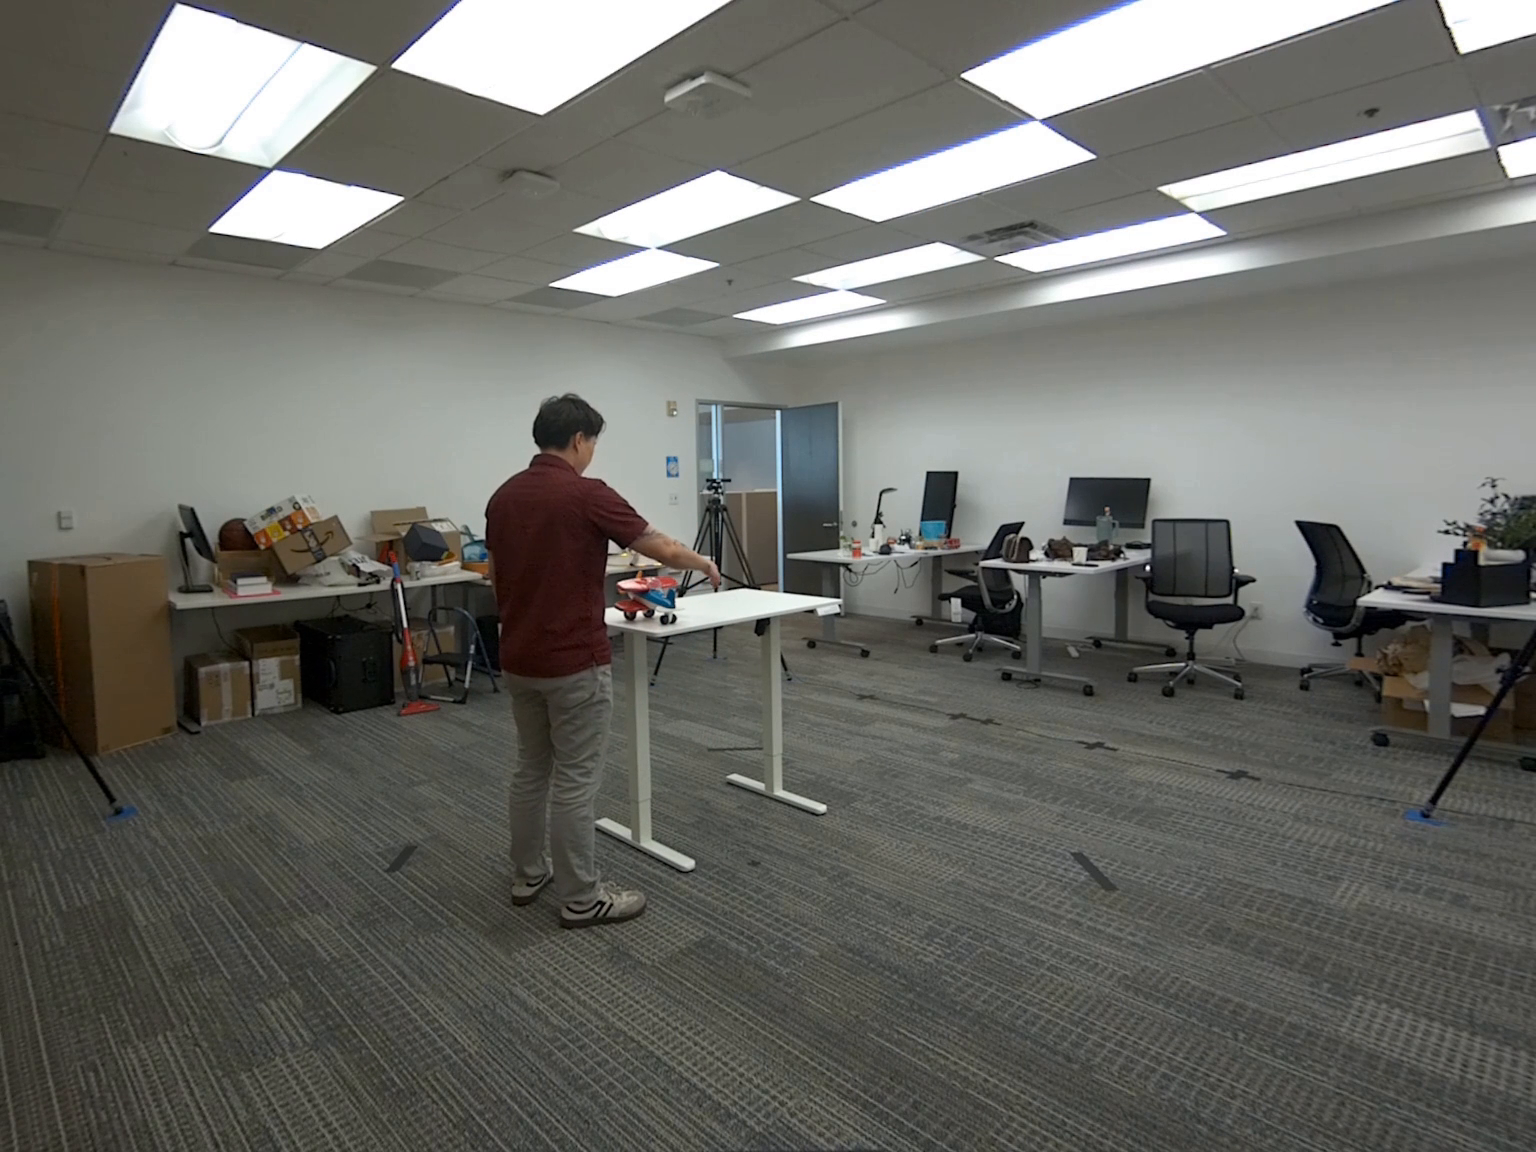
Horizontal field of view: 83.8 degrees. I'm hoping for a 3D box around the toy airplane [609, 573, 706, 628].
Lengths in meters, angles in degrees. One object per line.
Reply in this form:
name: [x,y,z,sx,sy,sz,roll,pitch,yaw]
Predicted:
toy airplane: [-0.404,0.085,3.149,0.264,0.156,0.248,-2,6,20]
